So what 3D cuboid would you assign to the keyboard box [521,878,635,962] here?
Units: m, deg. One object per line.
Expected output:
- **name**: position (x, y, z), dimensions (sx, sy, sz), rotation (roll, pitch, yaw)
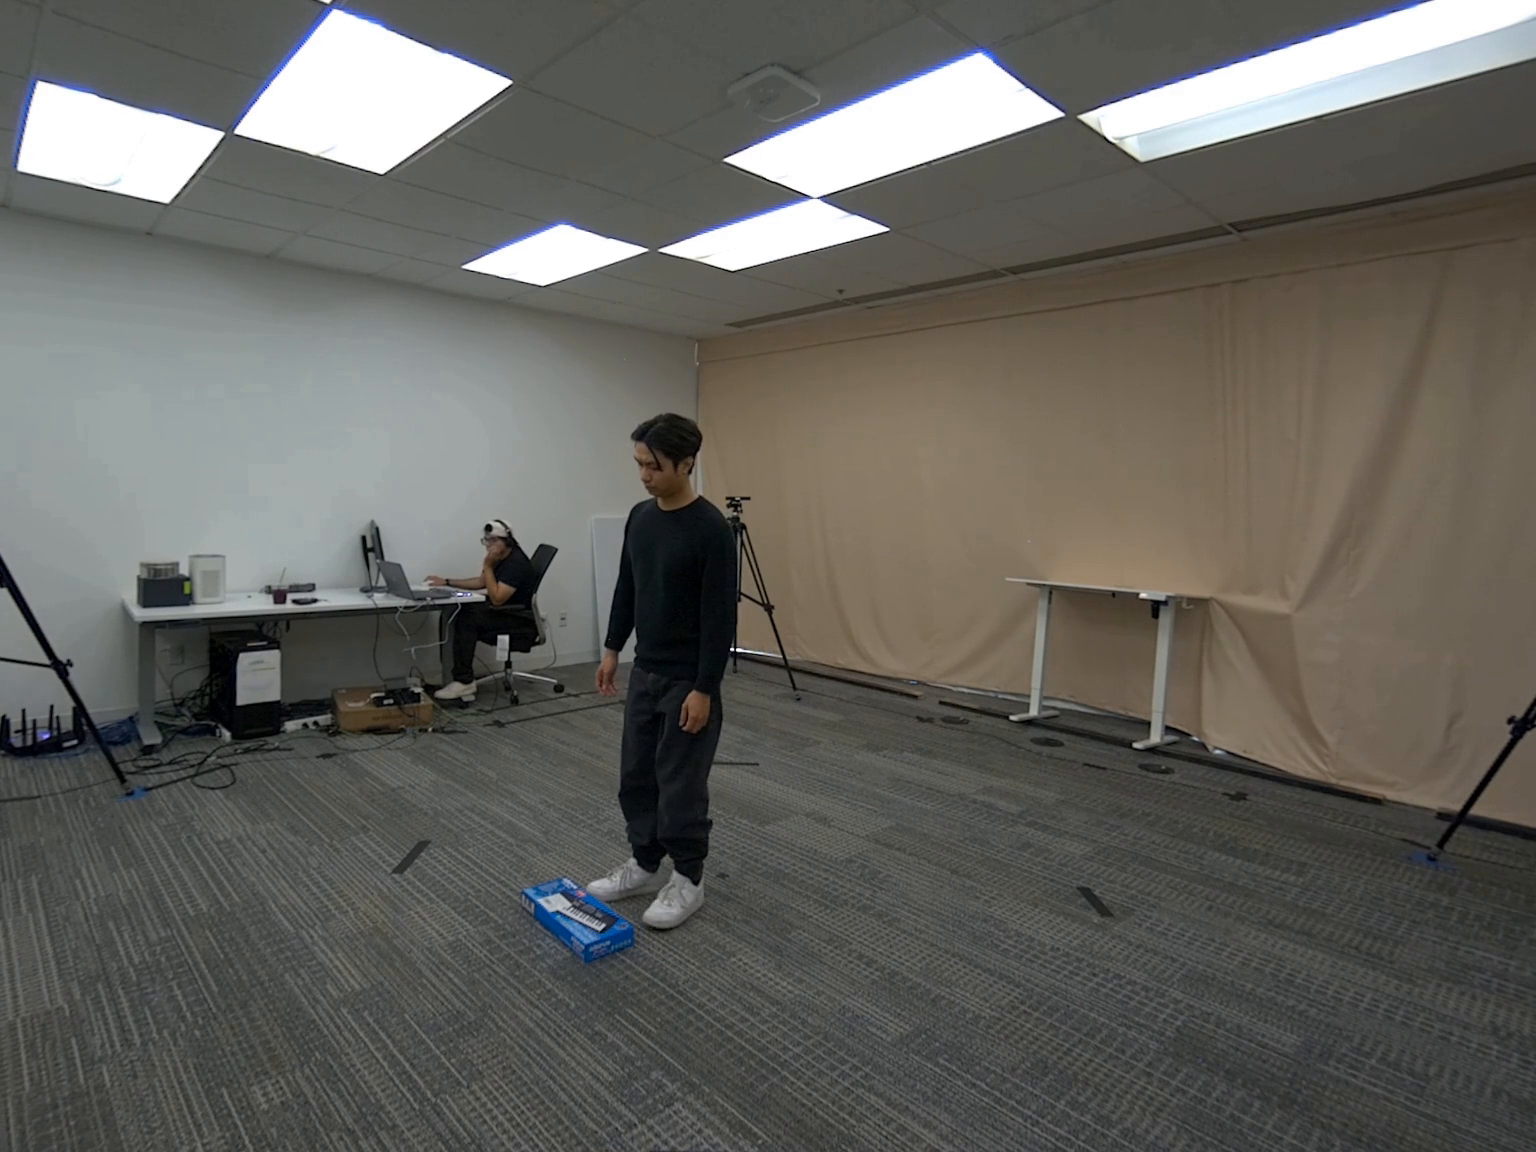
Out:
- **keyboard box**: position (-0.629, 1.103, 2.711), dimensions (0.172, 0.059, 0.448), rotation (-4, 8, -40)
